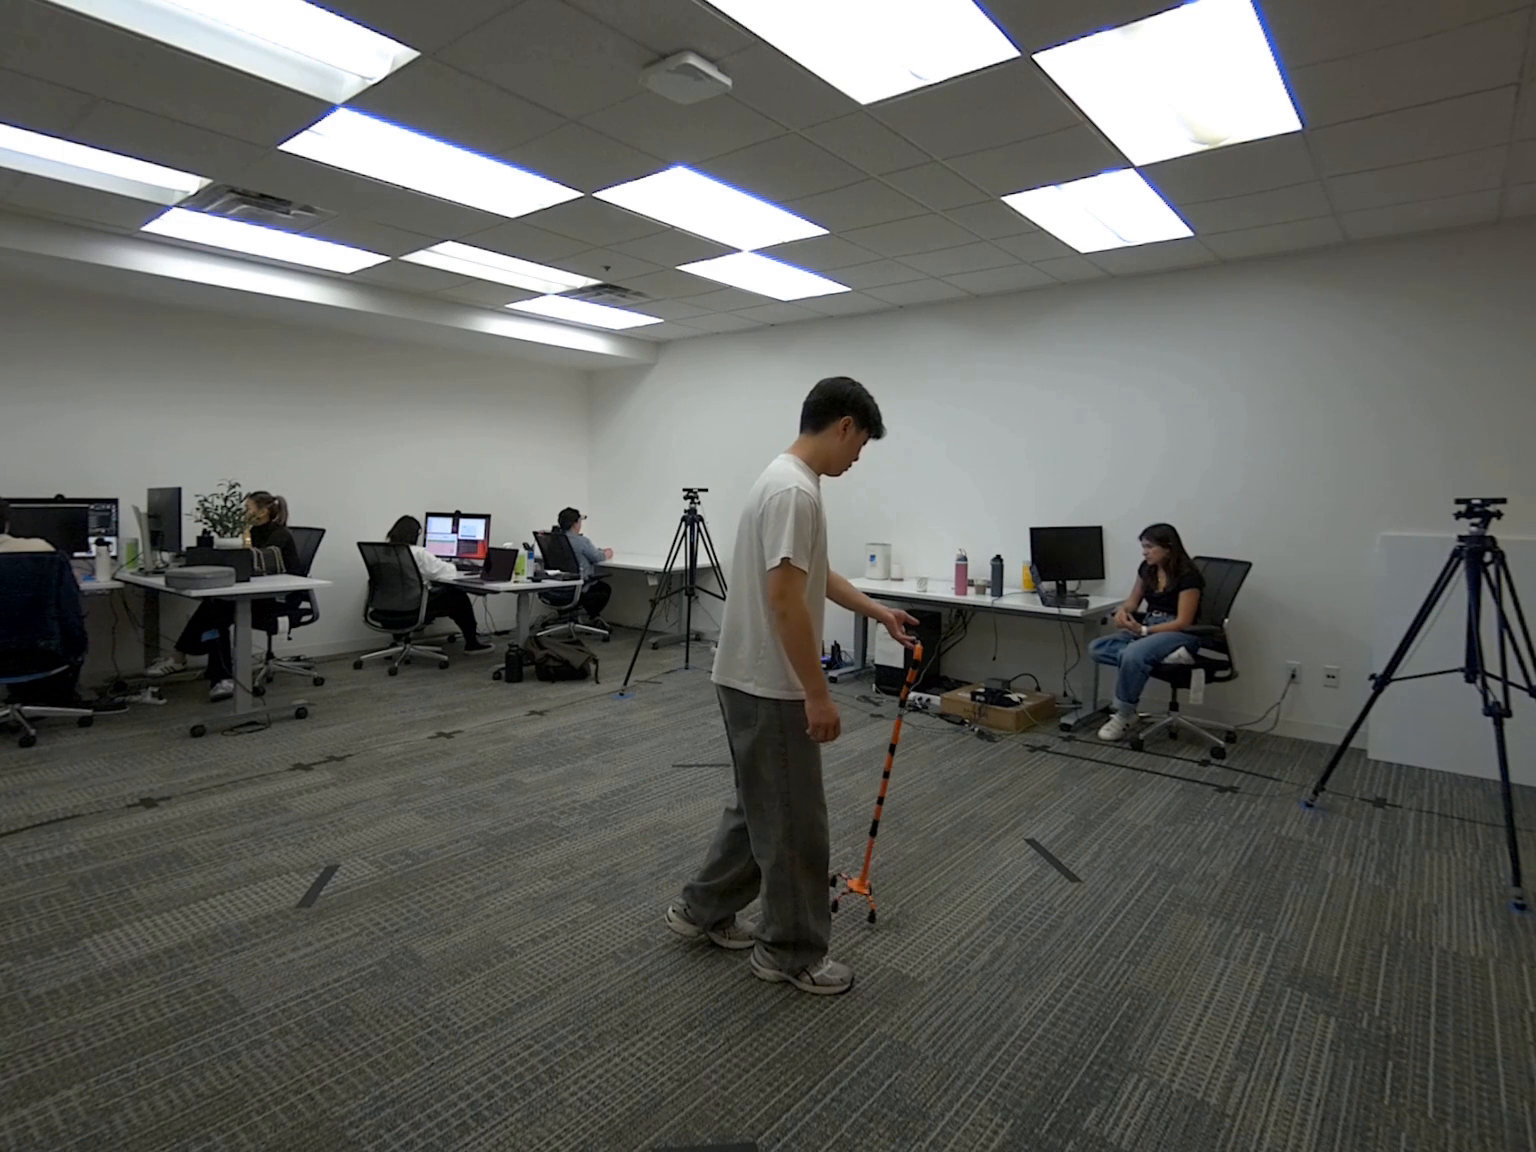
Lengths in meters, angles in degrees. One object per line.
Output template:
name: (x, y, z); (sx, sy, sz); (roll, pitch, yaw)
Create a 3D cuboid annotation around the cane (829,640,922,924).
cane: (0.371, 0.641, 2.772); (0.152, 0.905, 0.206); (10, 4, 3)
